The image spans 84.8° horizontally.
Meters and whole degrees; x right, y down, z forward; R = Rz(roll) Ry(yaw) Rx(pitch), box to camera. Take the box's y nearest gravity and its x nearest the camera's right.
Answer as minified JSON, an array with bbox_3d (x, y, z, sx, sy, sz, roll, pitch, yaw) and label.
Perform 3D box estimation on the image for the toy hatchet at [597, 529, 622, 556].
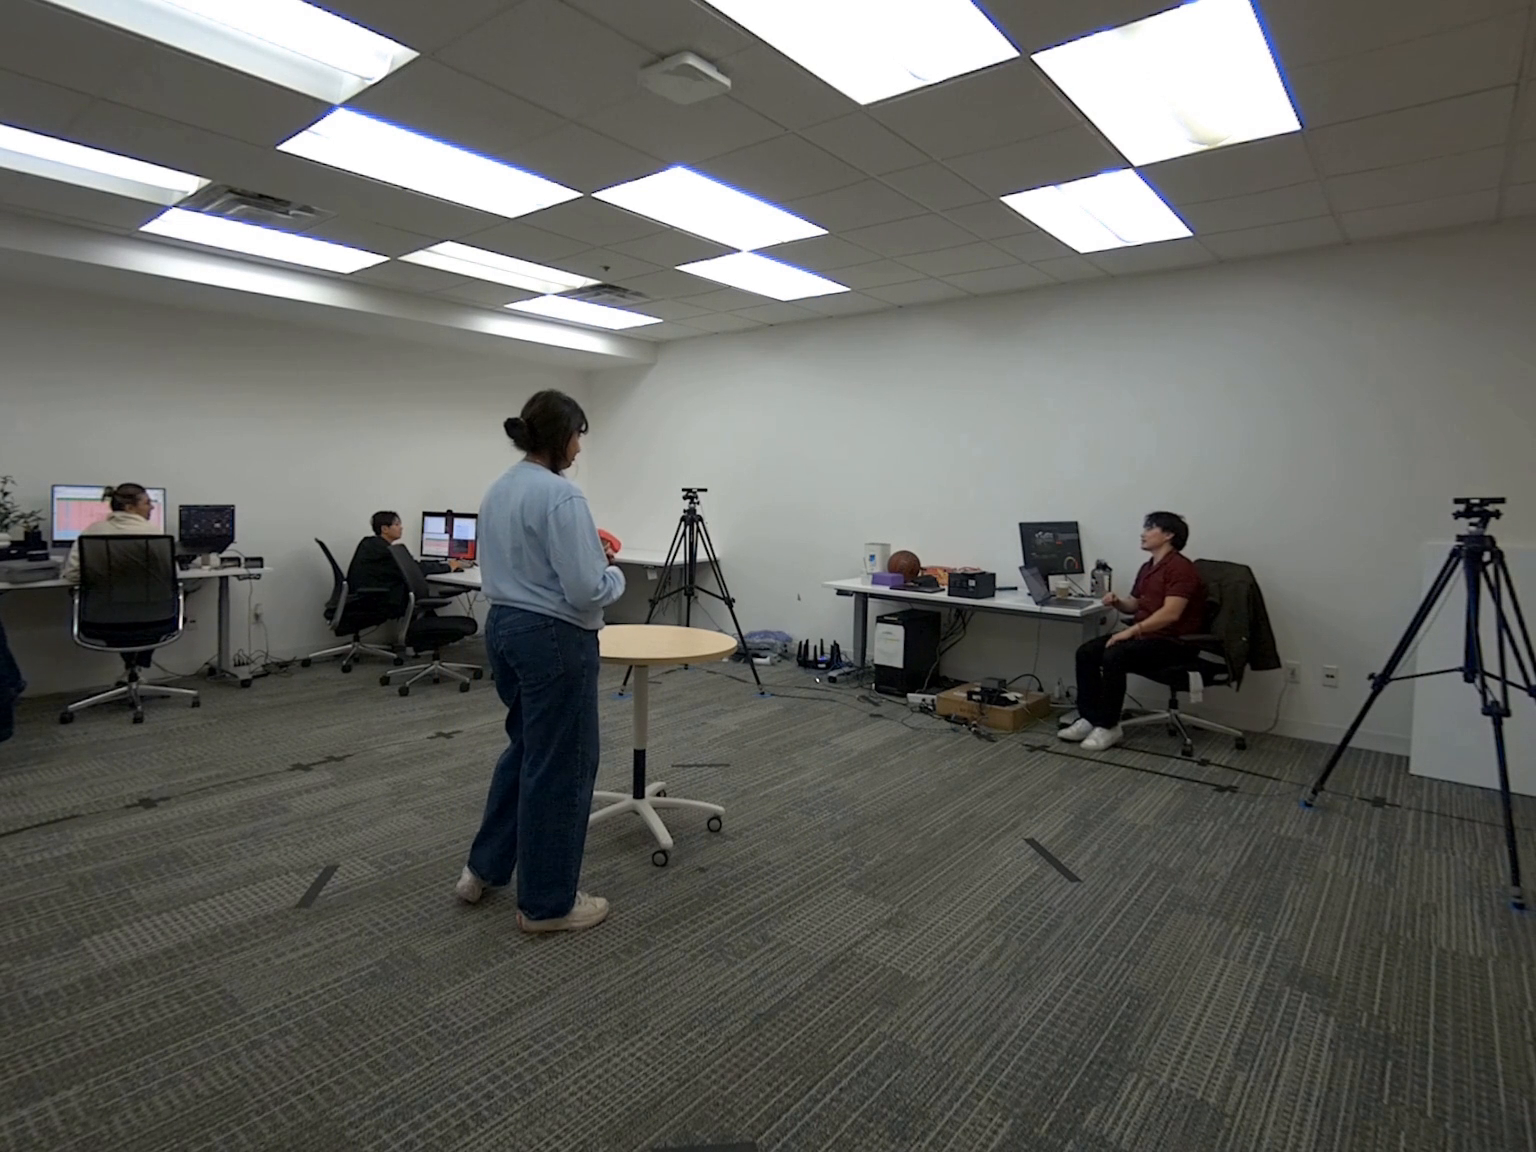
[{"bbox_3d":[-0.542,-0.057,2.906,0.126,0.280,0.029,15,-49,-39],"label":"toy hatchet"}]
